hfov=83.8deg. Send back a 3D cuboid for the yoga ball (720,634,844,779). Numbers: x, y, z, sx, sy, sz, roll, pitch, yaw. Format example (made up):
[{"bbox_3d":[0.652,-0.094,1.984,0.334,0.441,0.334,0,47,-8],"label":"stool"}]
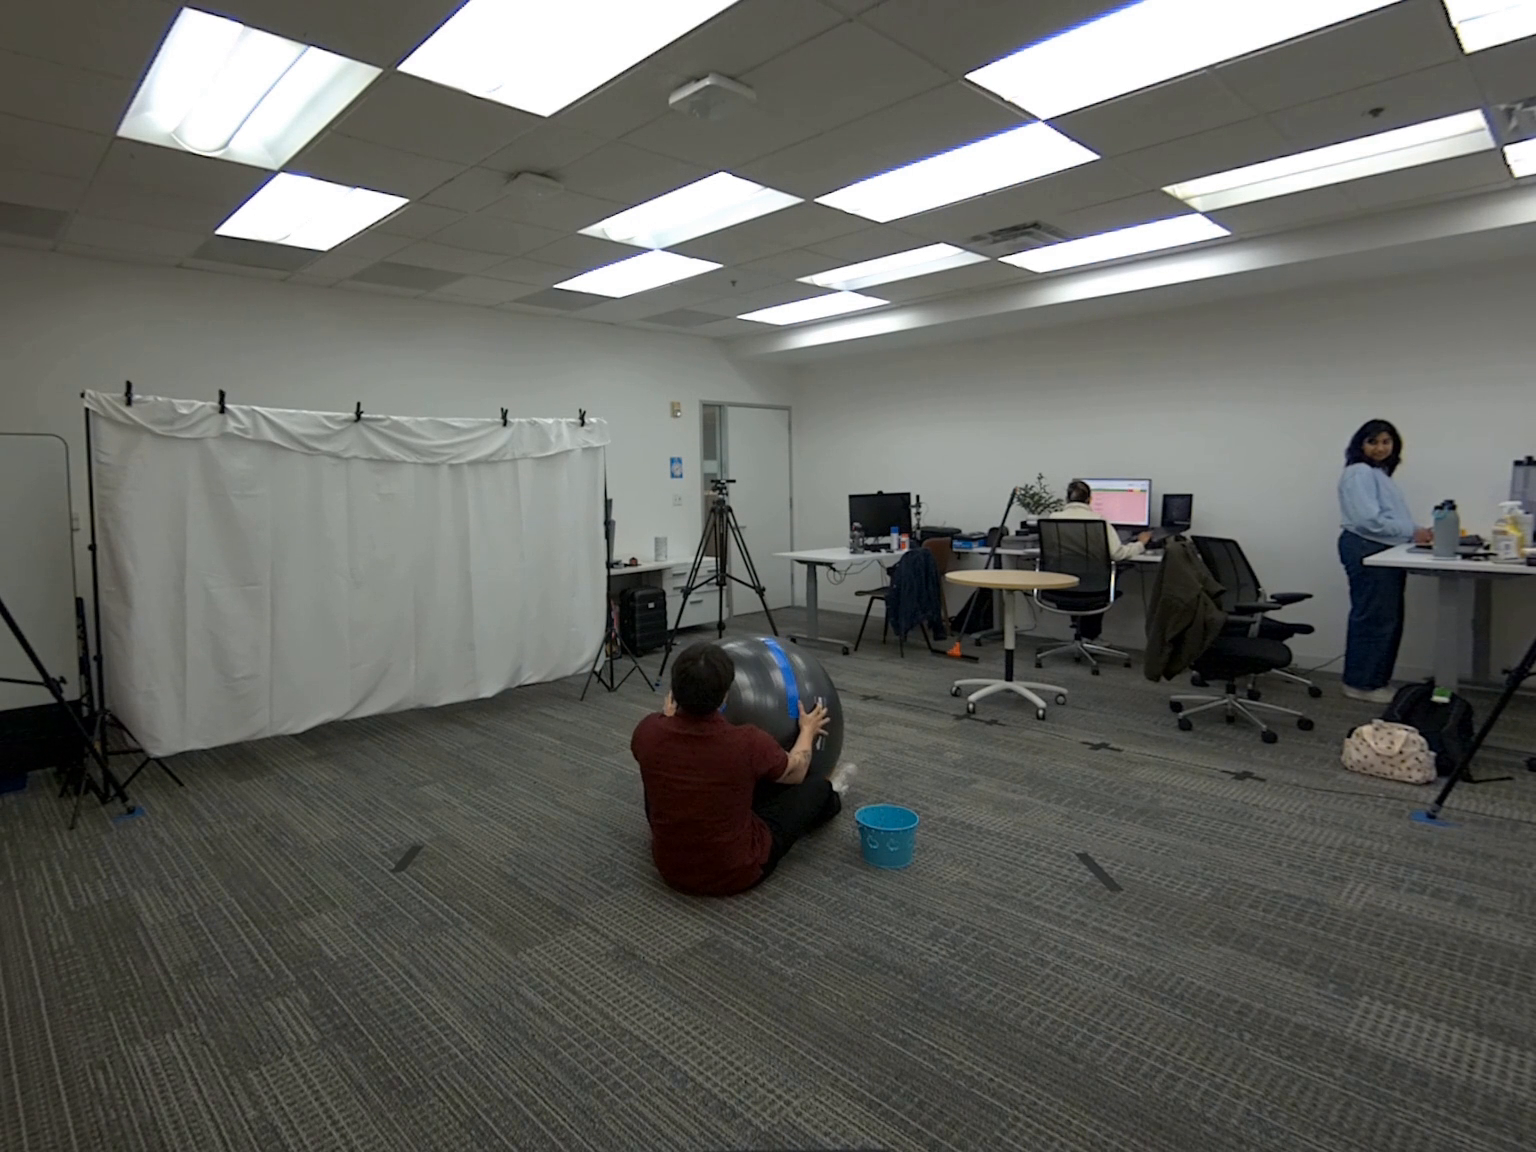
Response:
[{"bbox_3d":[-0.062,0.626,3.589,0.757,0.755,0.762,-1,5,-2],"label":"yoga ball"}]
